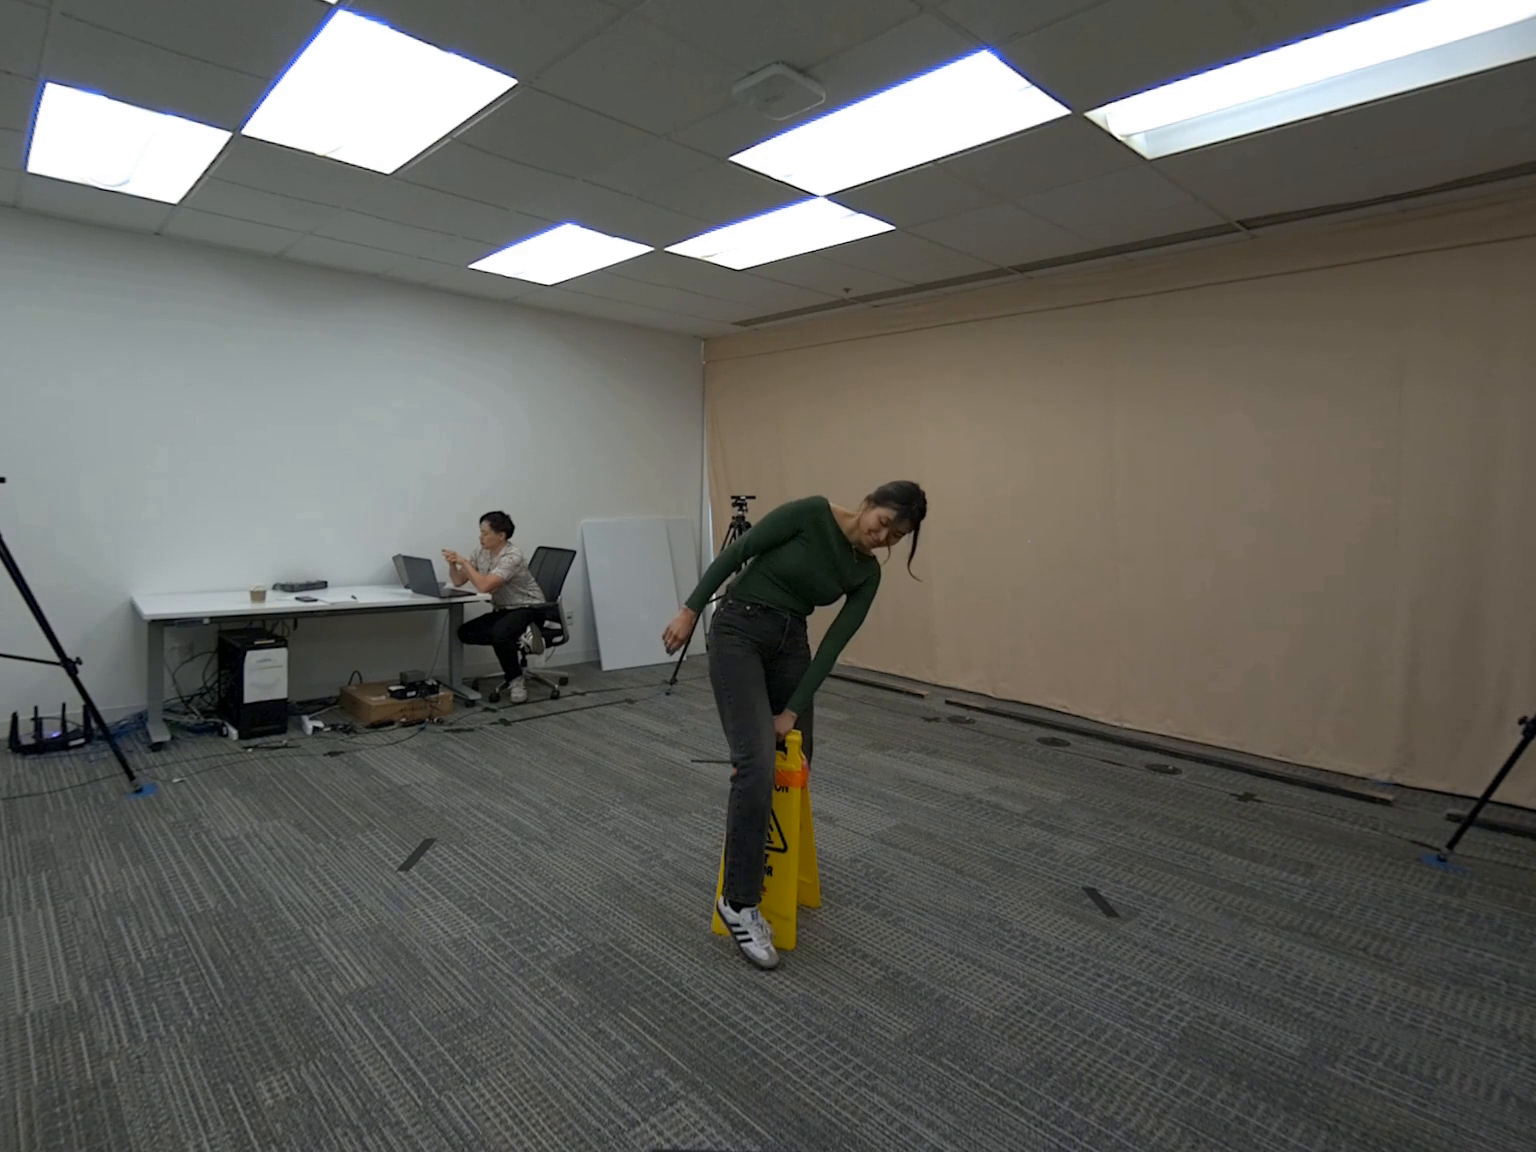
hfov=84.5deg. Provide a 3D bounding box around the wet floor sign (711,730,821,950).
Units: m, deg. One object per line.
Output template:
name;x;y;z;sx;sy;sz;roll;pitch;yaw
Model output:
wet floor sign;0.002;0.812;2.760;0.287;0.644;0.286;3;4;19
